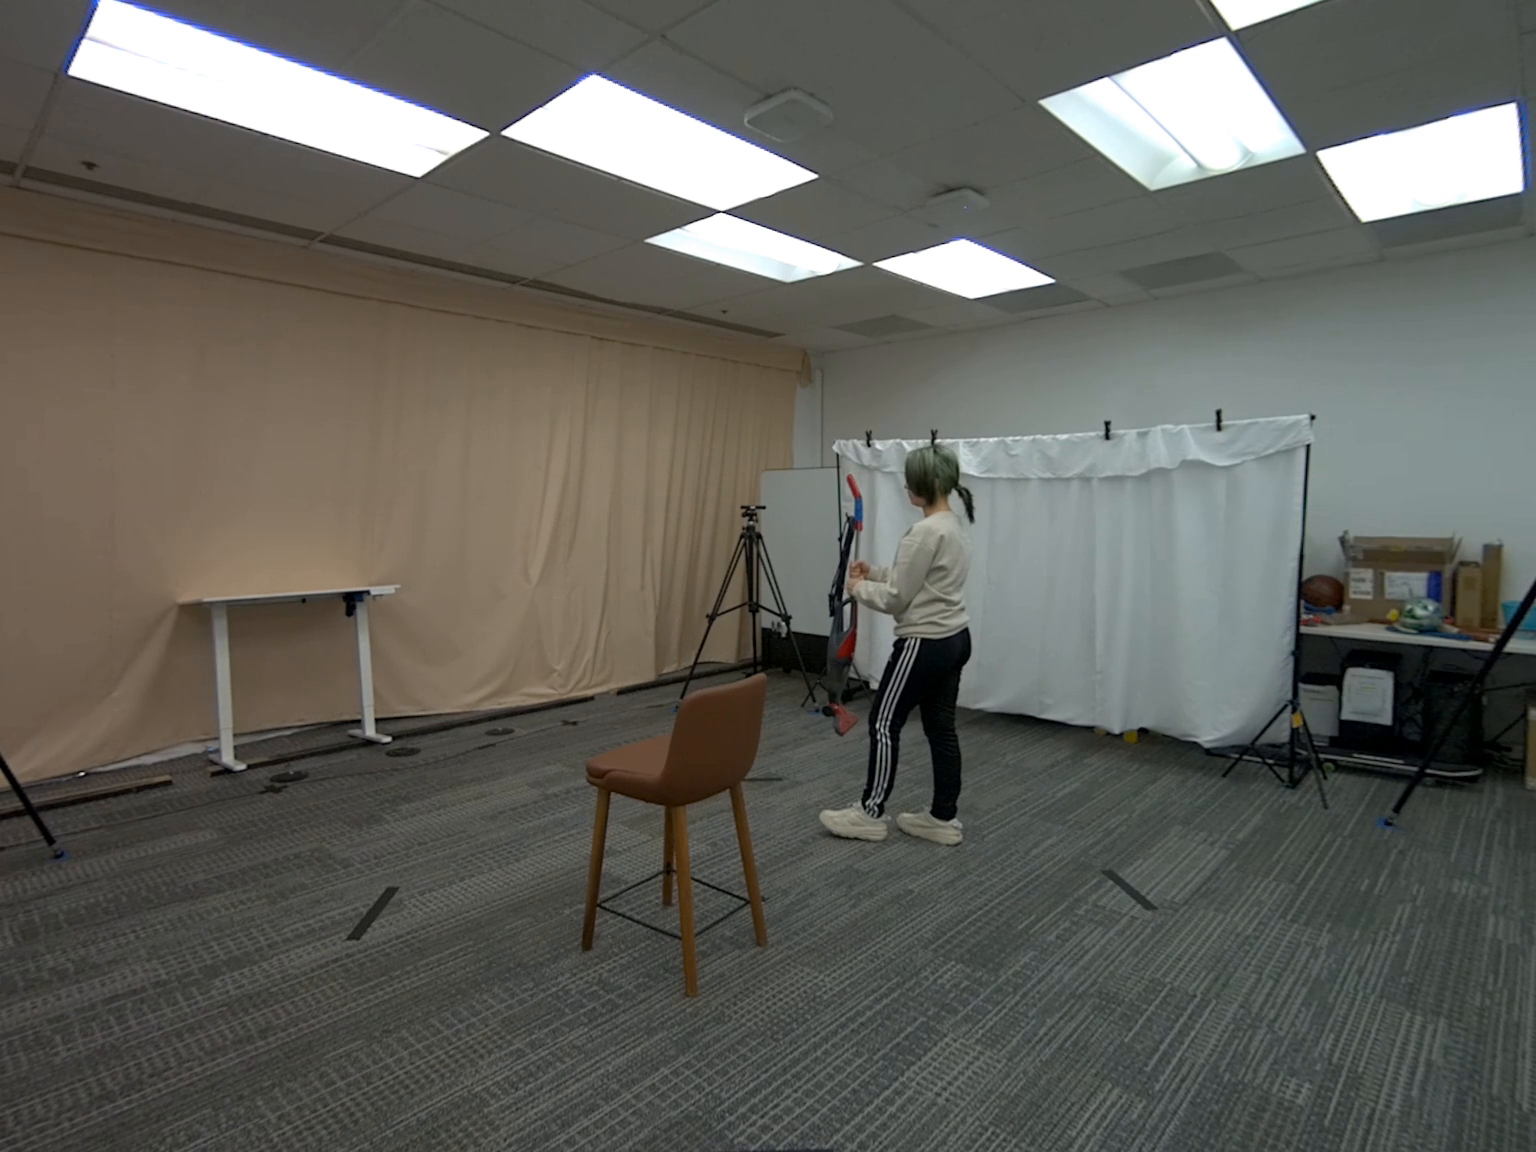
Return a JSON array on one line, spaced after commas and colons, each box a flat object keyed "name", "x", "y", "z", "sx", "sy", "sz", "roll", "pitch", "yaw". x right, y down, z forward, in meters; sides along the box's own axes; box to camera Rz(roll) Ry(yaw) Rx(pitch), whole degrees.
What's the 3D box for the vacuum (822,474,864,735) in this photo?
[{"name": "vacuum", "x": 0.327, "y": 0.093, "z": 3.646, "sx": 0.148, "sy": 1.046, "sz": 0.246, "roll": 4, "pitch": 5, "yaw": 28}]
